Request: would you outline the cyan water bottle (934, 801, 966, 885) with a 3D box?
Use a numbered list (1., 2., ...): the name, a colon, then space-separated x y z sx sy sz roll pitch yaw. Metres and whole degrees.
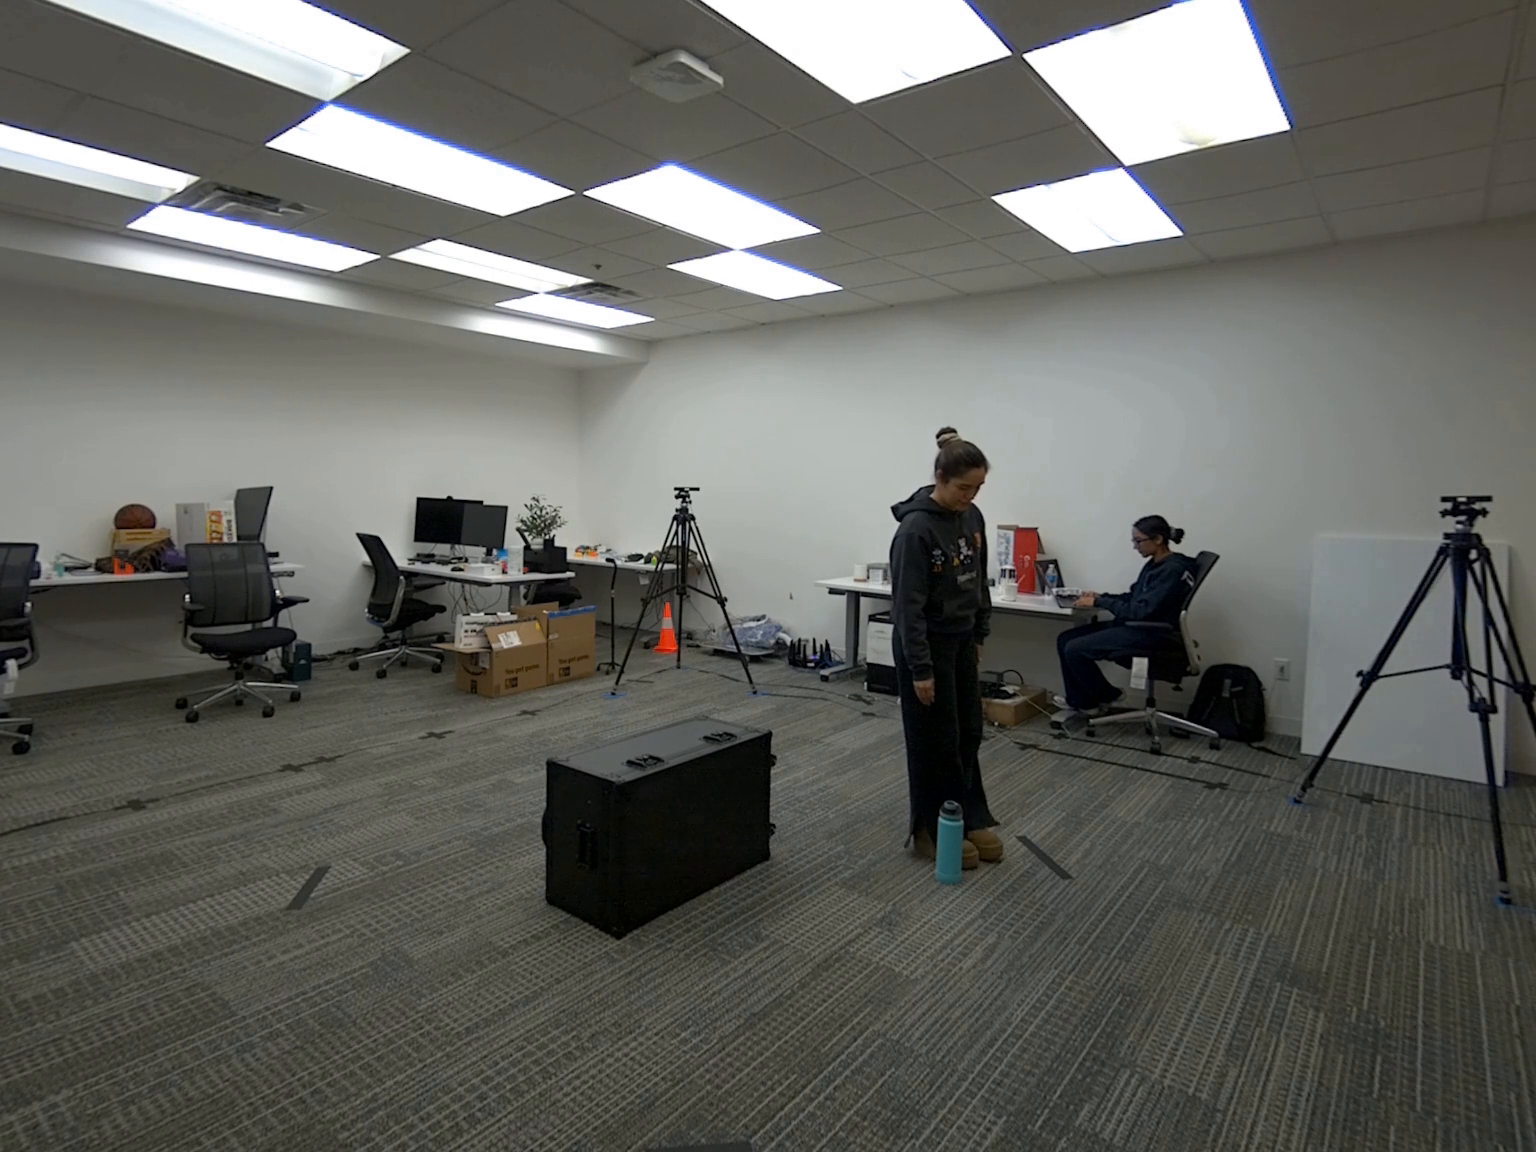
1. cyan water bottle: 0.654 0.957 3.071 0.092 0.283 0.093 2 2 -2
